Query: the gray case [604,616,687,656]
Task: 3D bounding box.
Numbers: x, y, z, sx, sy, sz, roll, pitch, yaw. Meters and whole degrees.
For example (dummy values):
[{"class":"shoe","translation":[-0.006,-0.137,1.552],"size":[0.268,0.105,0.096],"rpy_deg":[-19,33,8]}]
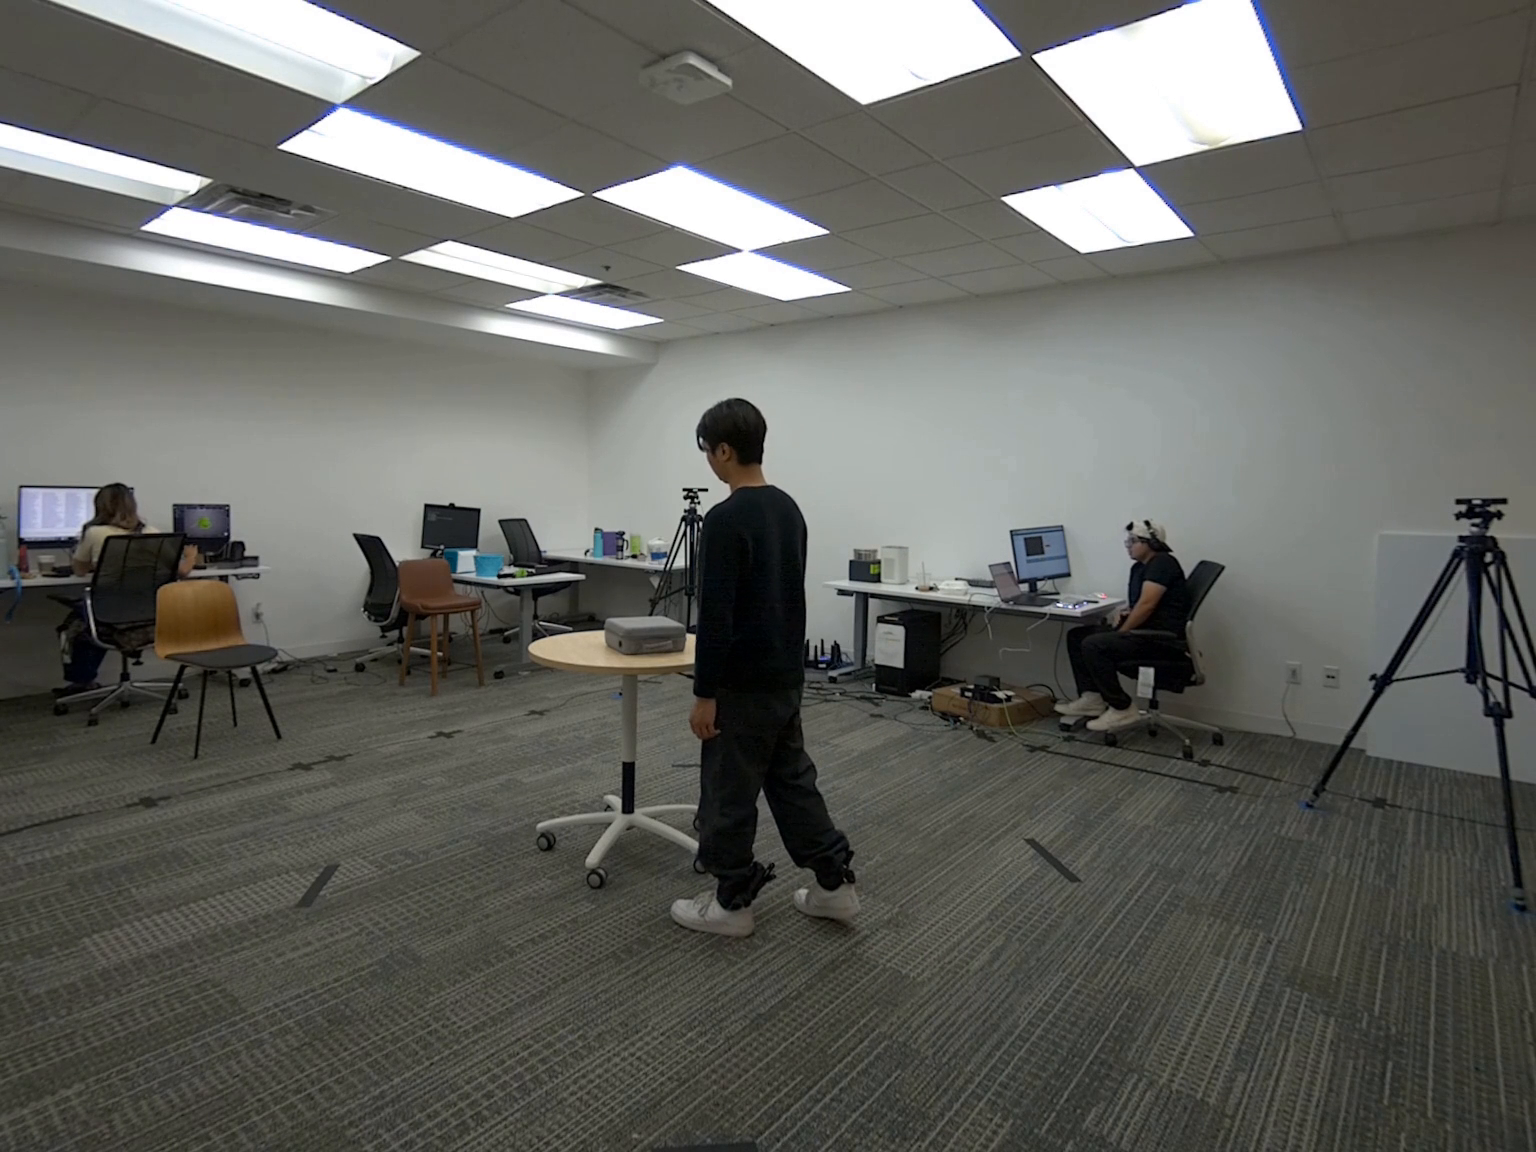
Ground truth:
[{"class":"gray case","translation":[-0.473,0.218,3.211],"size":[0.250,0.104,0.268],"rpy_deg":[0,6,-27]}]
